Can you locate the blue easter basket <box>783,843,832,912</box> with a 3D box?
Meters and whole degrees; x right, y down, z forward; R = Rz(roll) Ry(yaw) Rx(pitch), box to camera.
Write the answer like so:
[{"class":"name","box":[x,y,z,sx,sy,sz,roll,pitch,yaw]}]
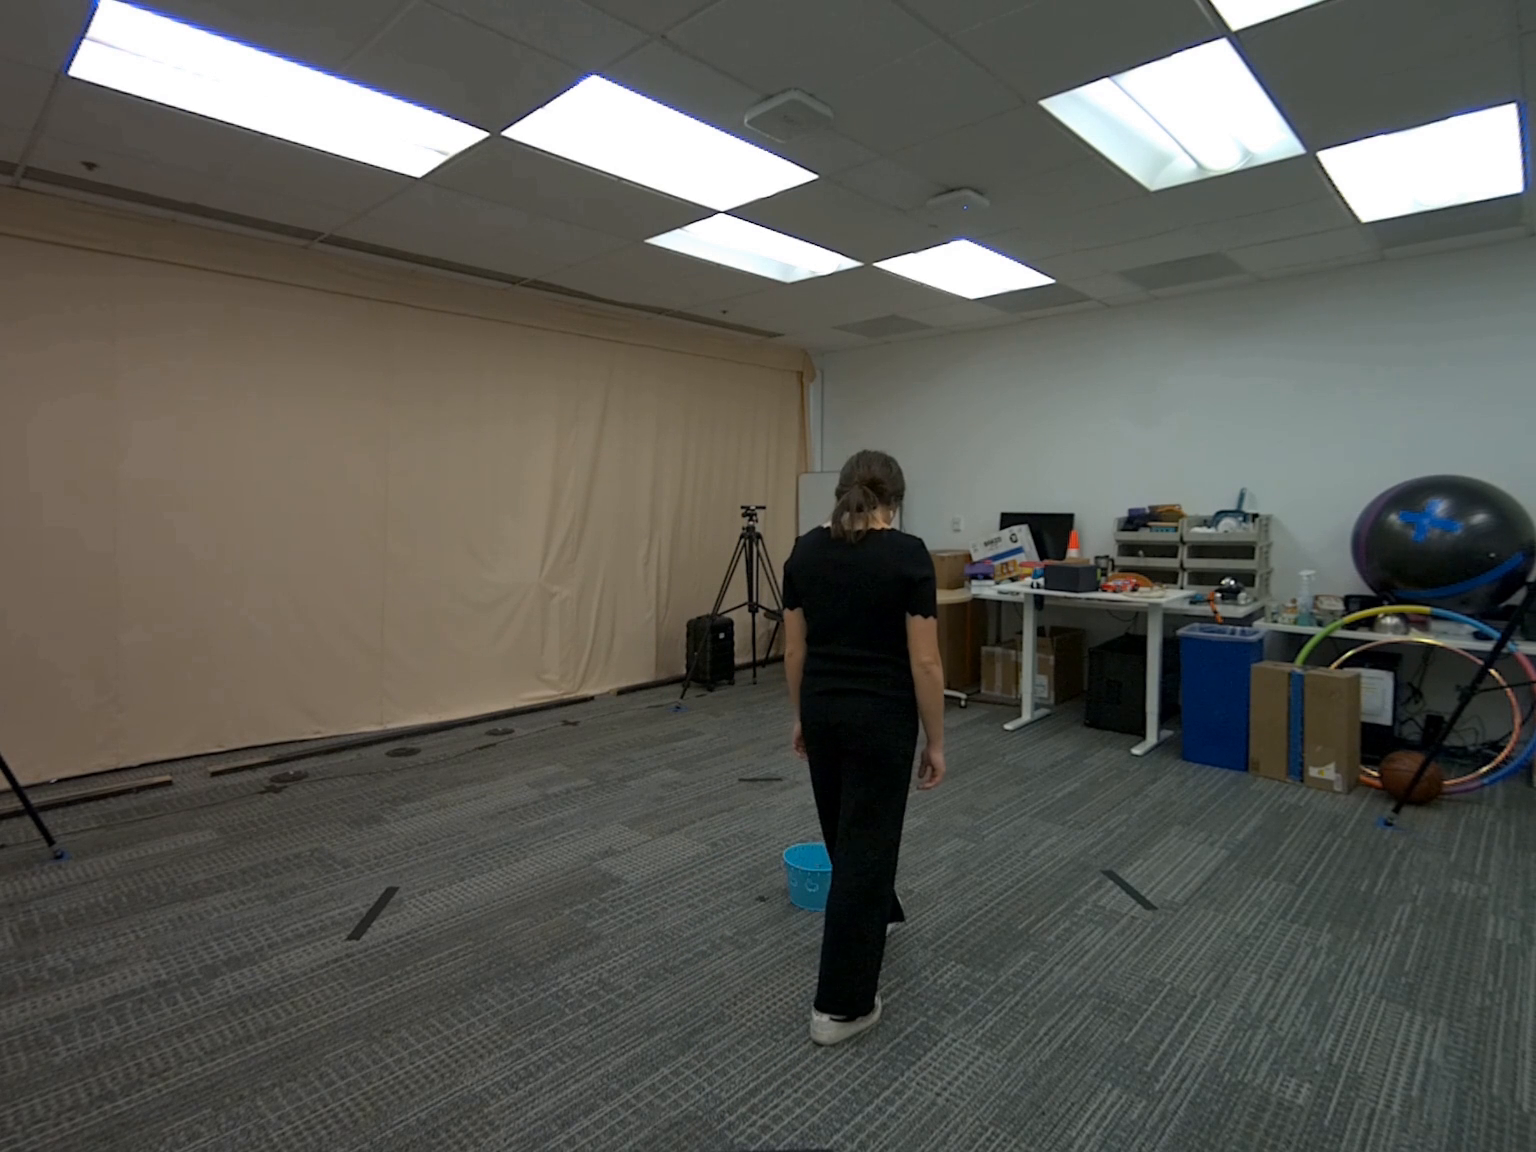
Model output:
[{"class":"blue easter basket","box":[0.171,1.062,2.984,0.243,0.155,0.244,0,4,-2]}]
